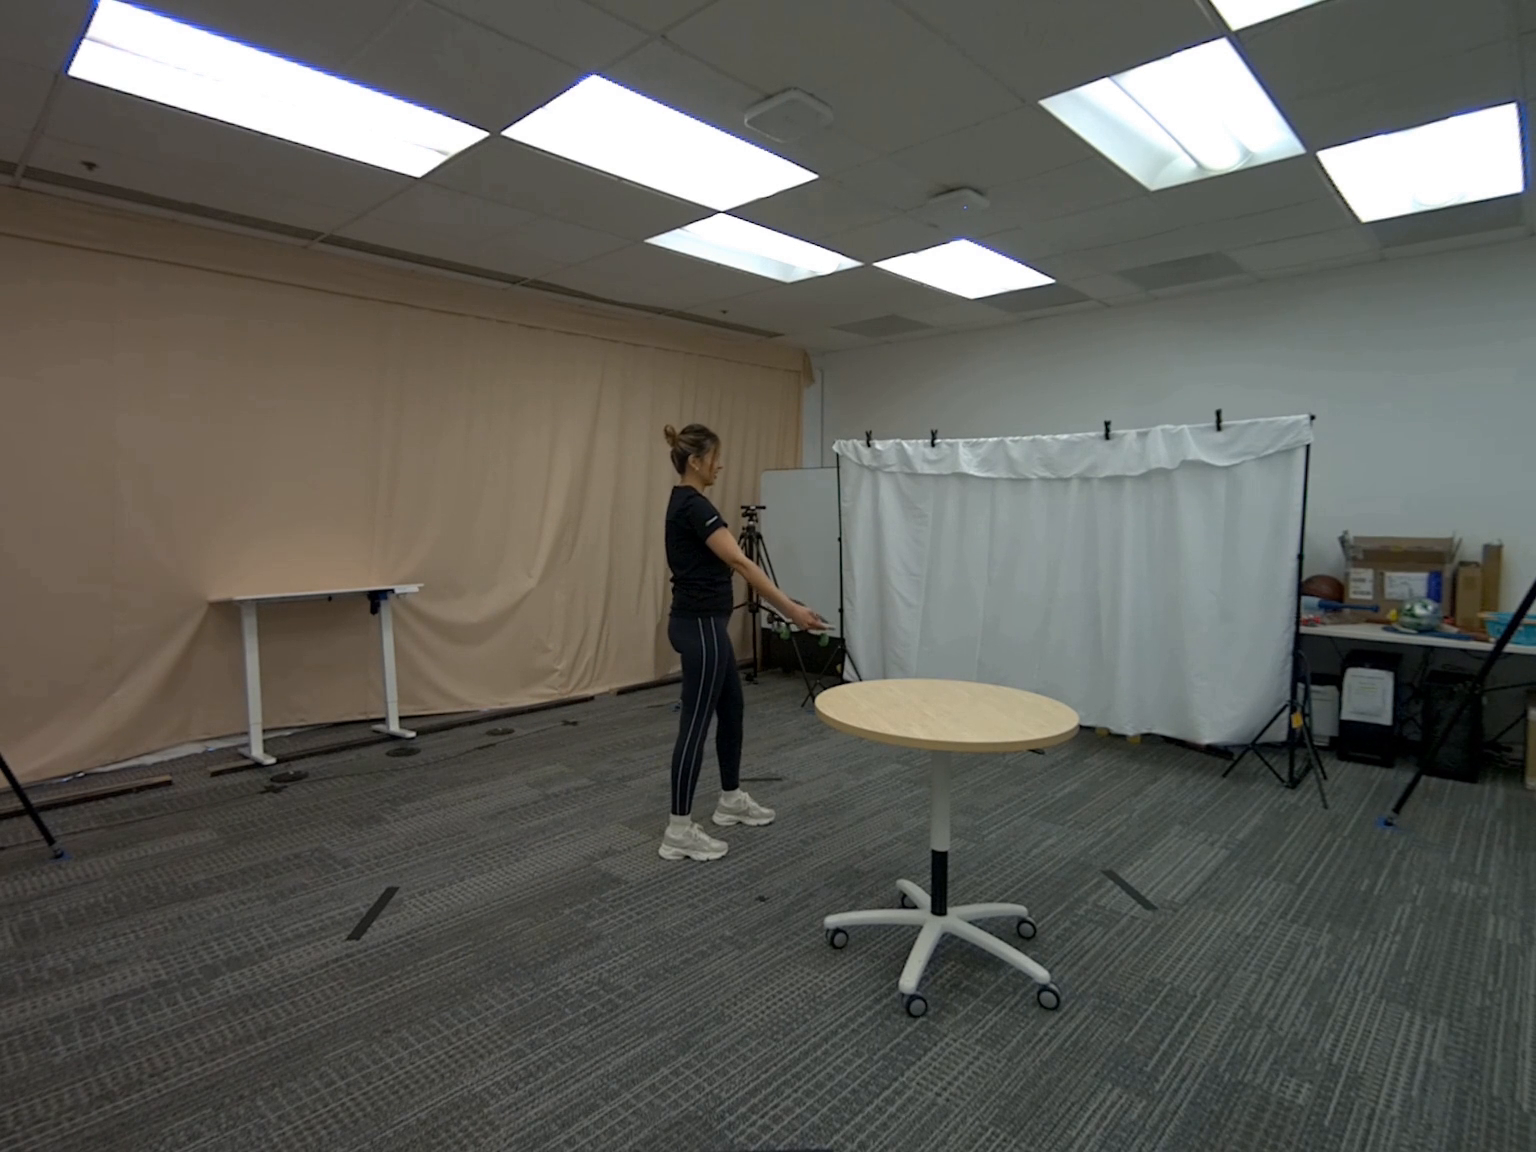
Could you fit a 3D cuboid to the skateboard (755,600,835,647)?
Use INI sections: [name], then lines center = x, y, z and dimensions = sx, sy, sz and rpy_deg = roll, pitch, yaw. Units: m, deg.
[skateboard]
center = 0.108, 0.184, 3.487
dimensions = 0.192, 0.110, 0.791
rpy_deg = 10, 5, -6
